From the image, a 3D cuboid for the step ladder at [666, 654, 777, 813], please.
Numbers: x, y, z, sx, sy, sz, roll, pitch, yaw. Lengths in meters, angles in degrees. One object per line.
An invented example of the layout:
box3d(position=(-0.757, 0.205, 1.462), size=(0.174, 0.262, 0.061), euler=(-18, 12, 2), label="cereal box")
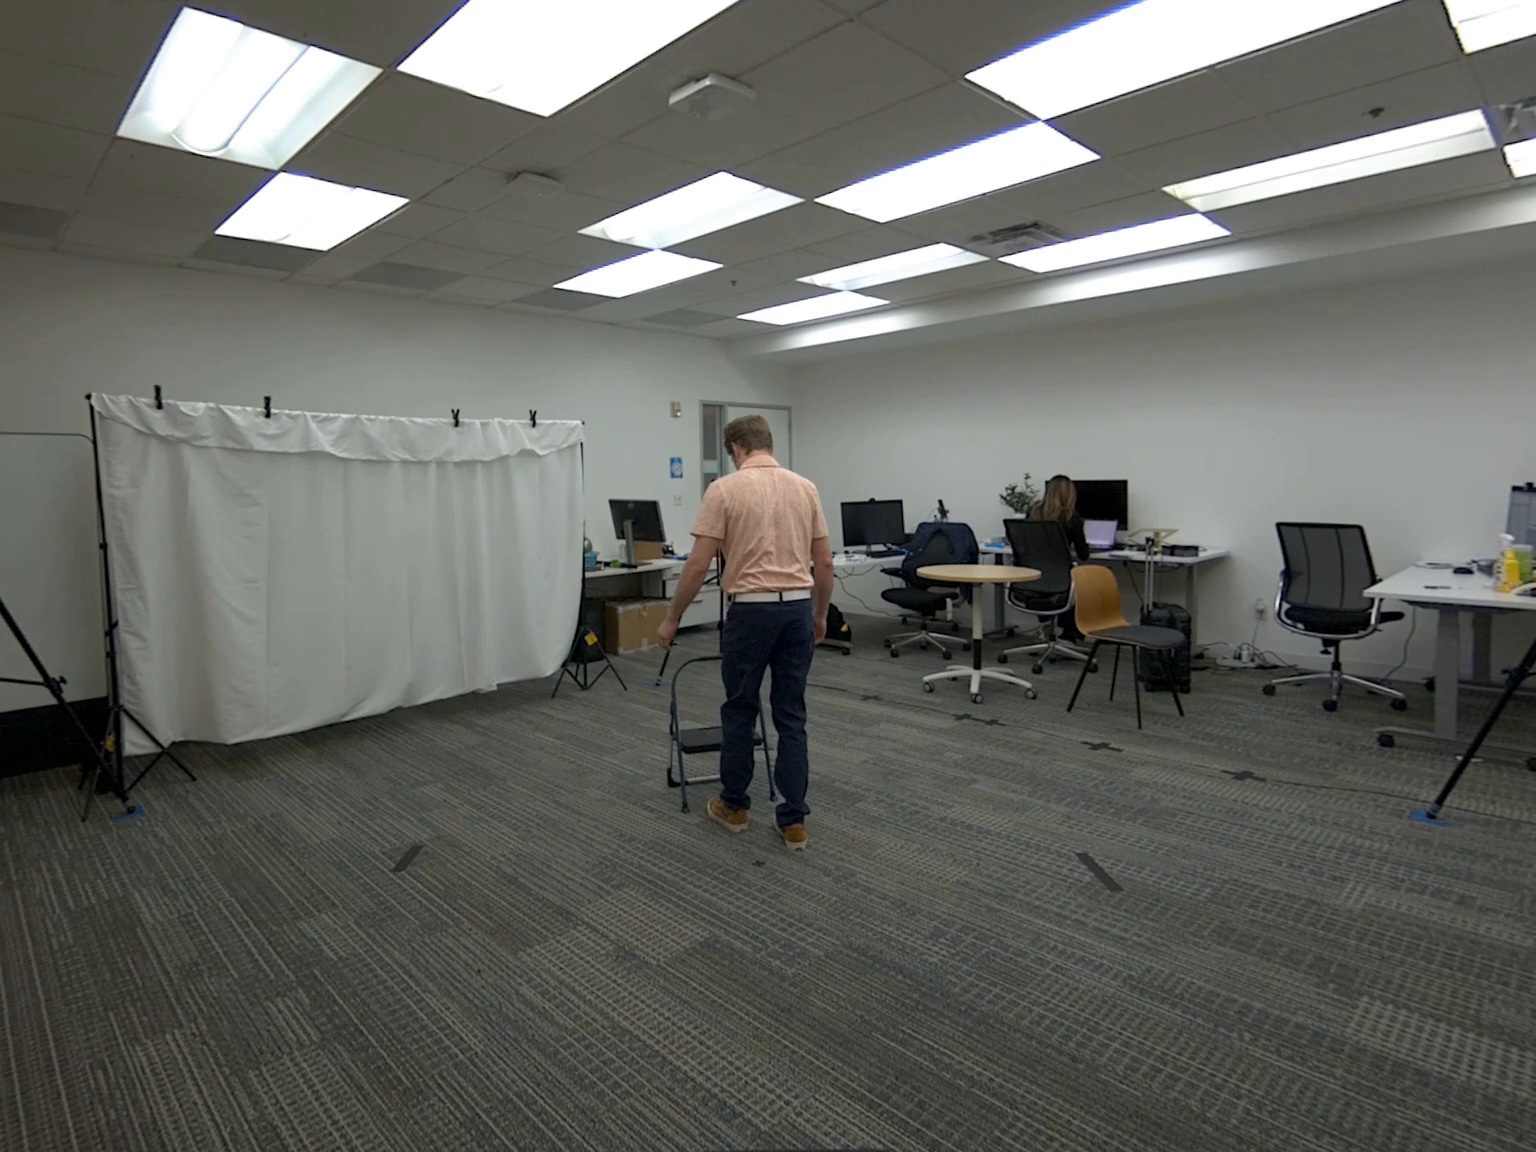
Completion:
box3d(position=(-0.219, 0.669, 3.809), size=(0.424, 0.604, 0.356), euler=(-3, 4, -18), label="step ladder")
